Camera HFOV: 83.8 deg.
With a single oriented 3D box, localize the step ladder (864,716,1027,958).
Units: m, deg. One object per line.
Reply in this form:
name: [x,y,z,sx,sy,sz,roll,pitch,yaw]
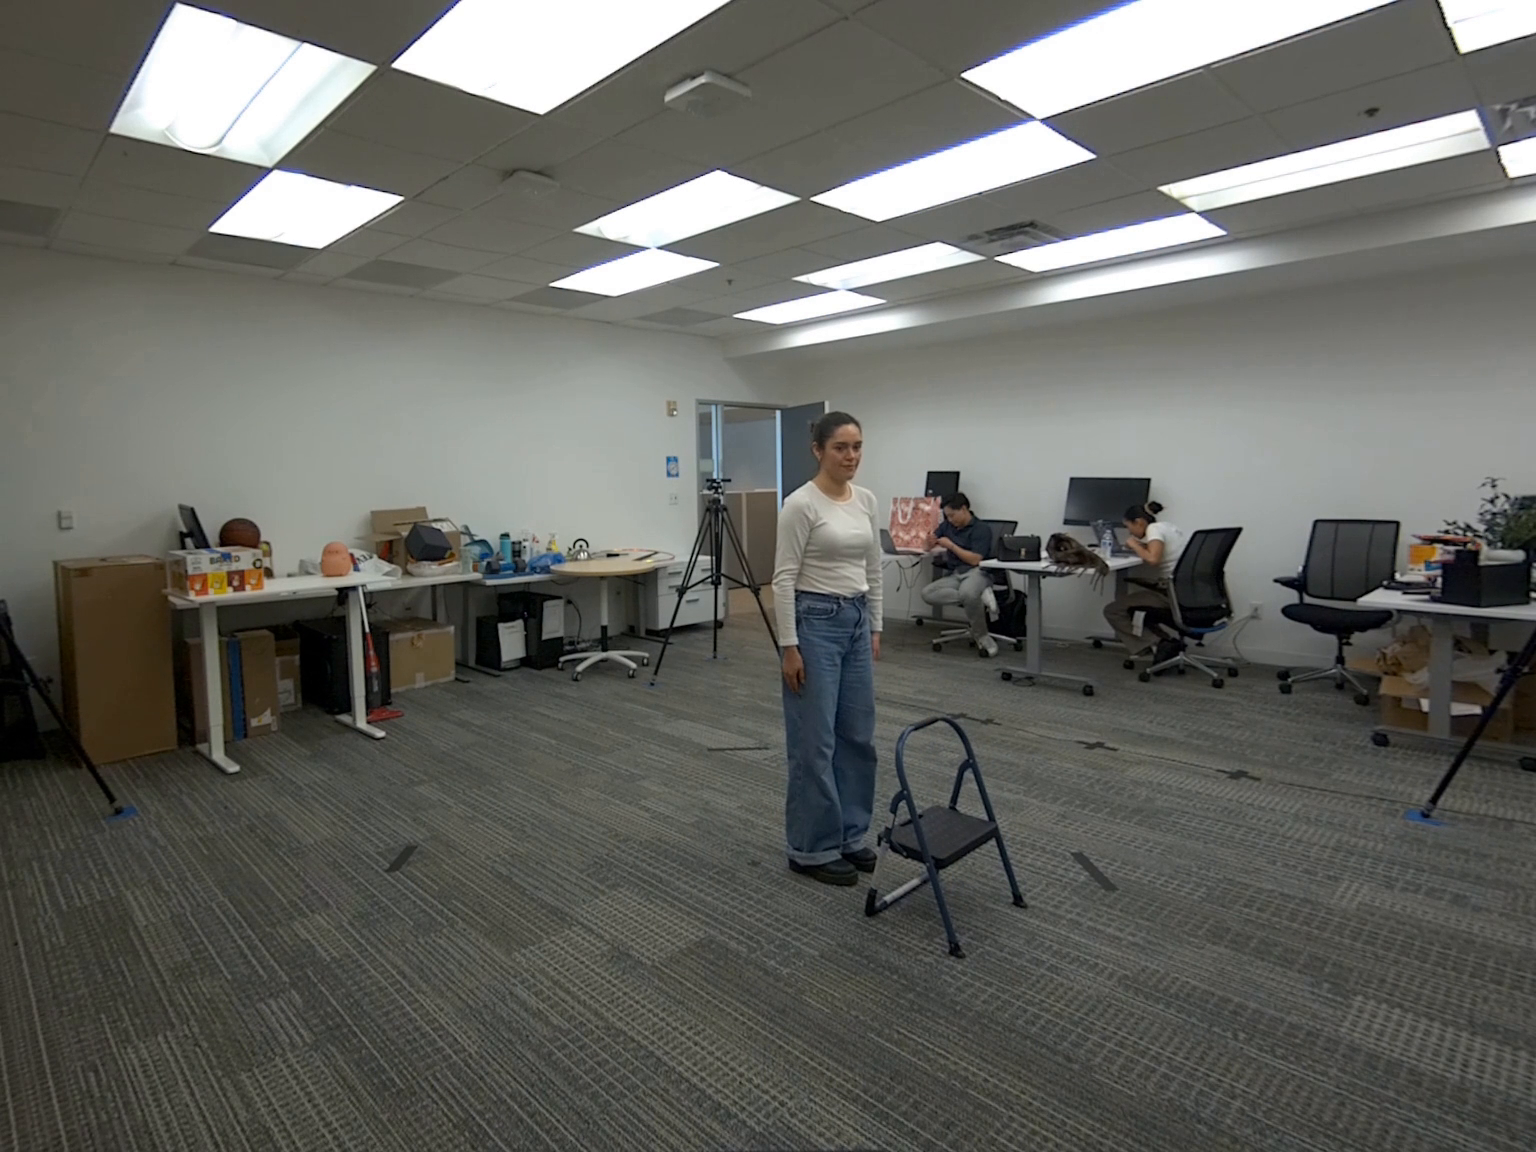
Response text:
step ladder: [0.568,0.776,2.723,0.360,0.604,0.419,3,6,43]
